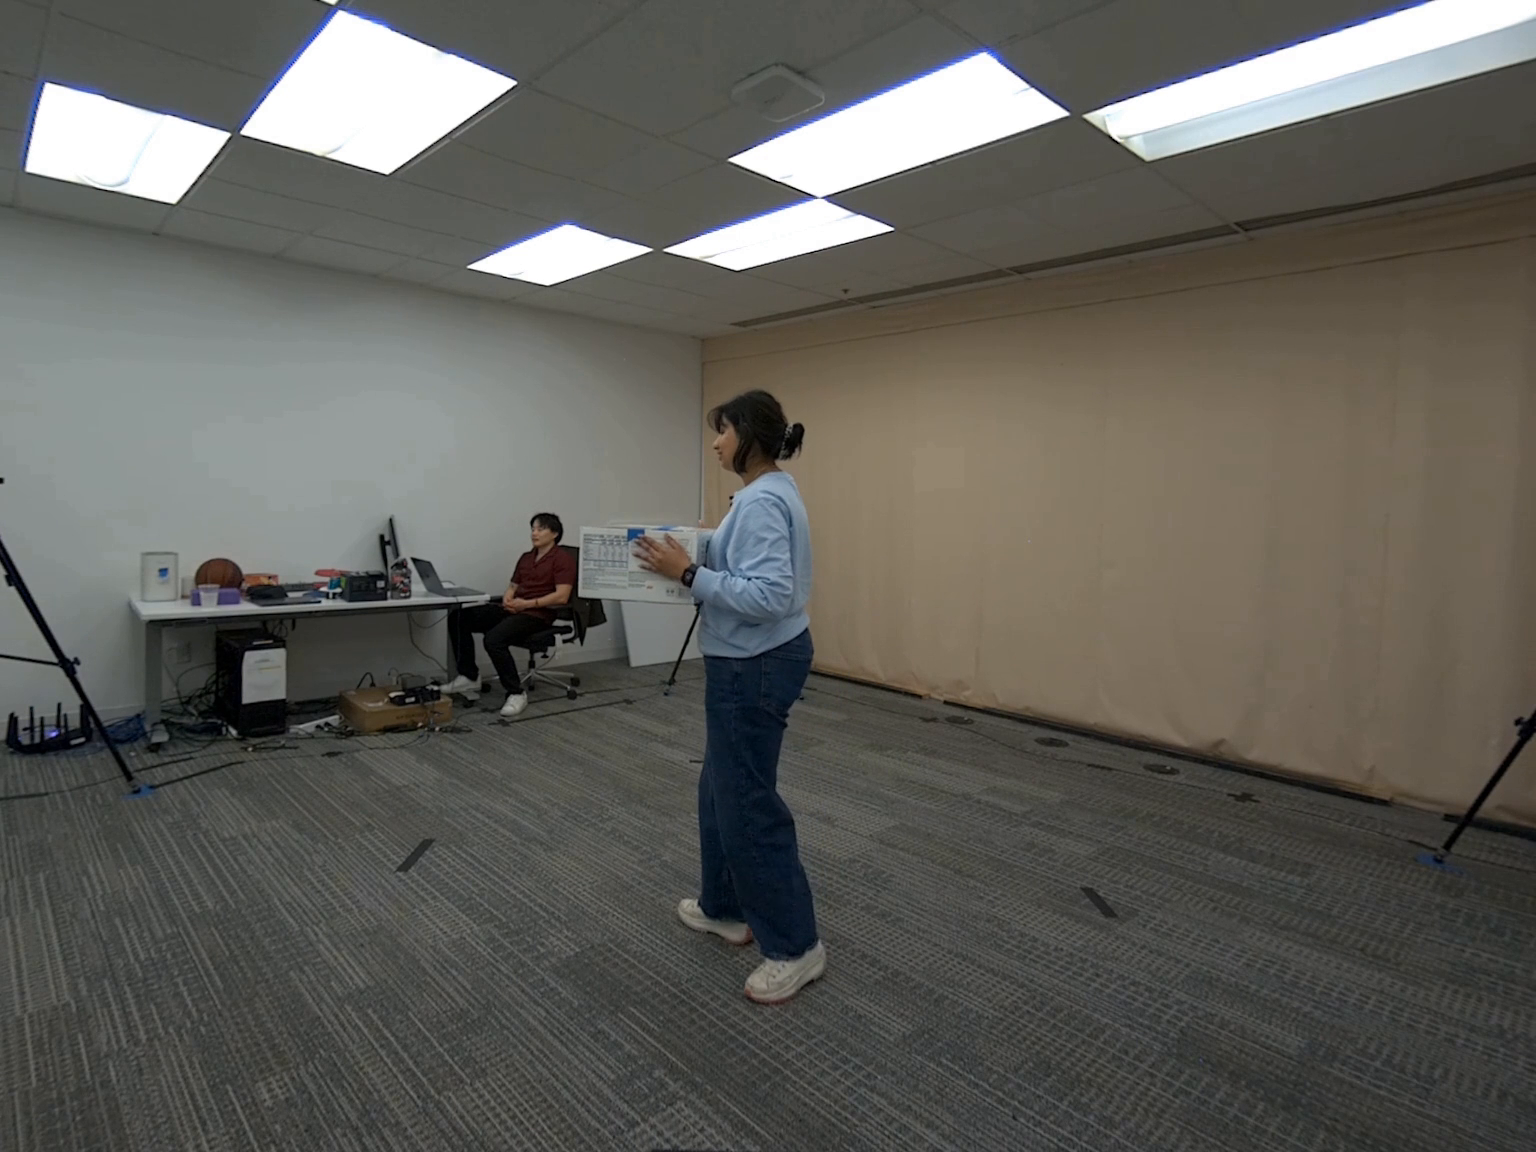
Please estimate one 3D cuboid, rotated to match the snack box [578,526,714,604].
[{"bbox_3d":[-0.345,-0.042,2.541,0.343,0.205,0.403,3,5,8],"label":"snack box"}]
